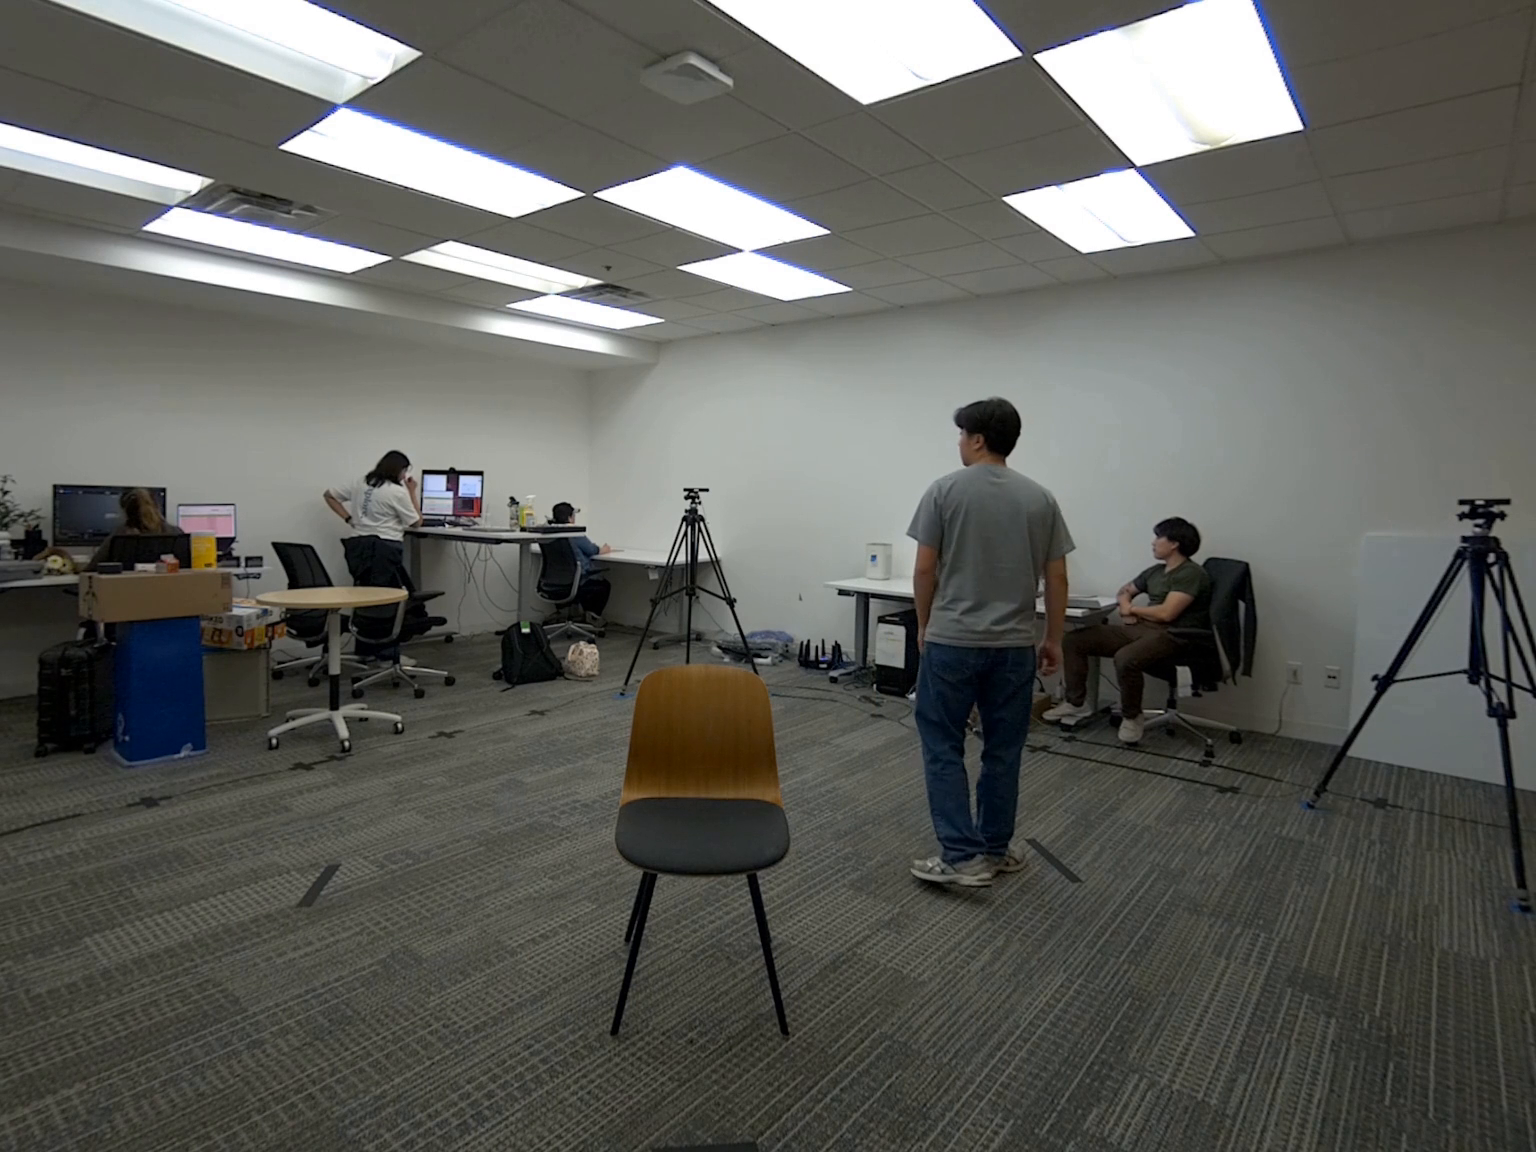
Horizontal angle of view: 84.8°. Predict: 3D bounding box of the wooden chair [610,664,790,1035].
[{"bbox_3d":[-0.184,0.721,2.347,0.476,0.877,0.525,1,0,-5],"label":"wooden chair"}]
